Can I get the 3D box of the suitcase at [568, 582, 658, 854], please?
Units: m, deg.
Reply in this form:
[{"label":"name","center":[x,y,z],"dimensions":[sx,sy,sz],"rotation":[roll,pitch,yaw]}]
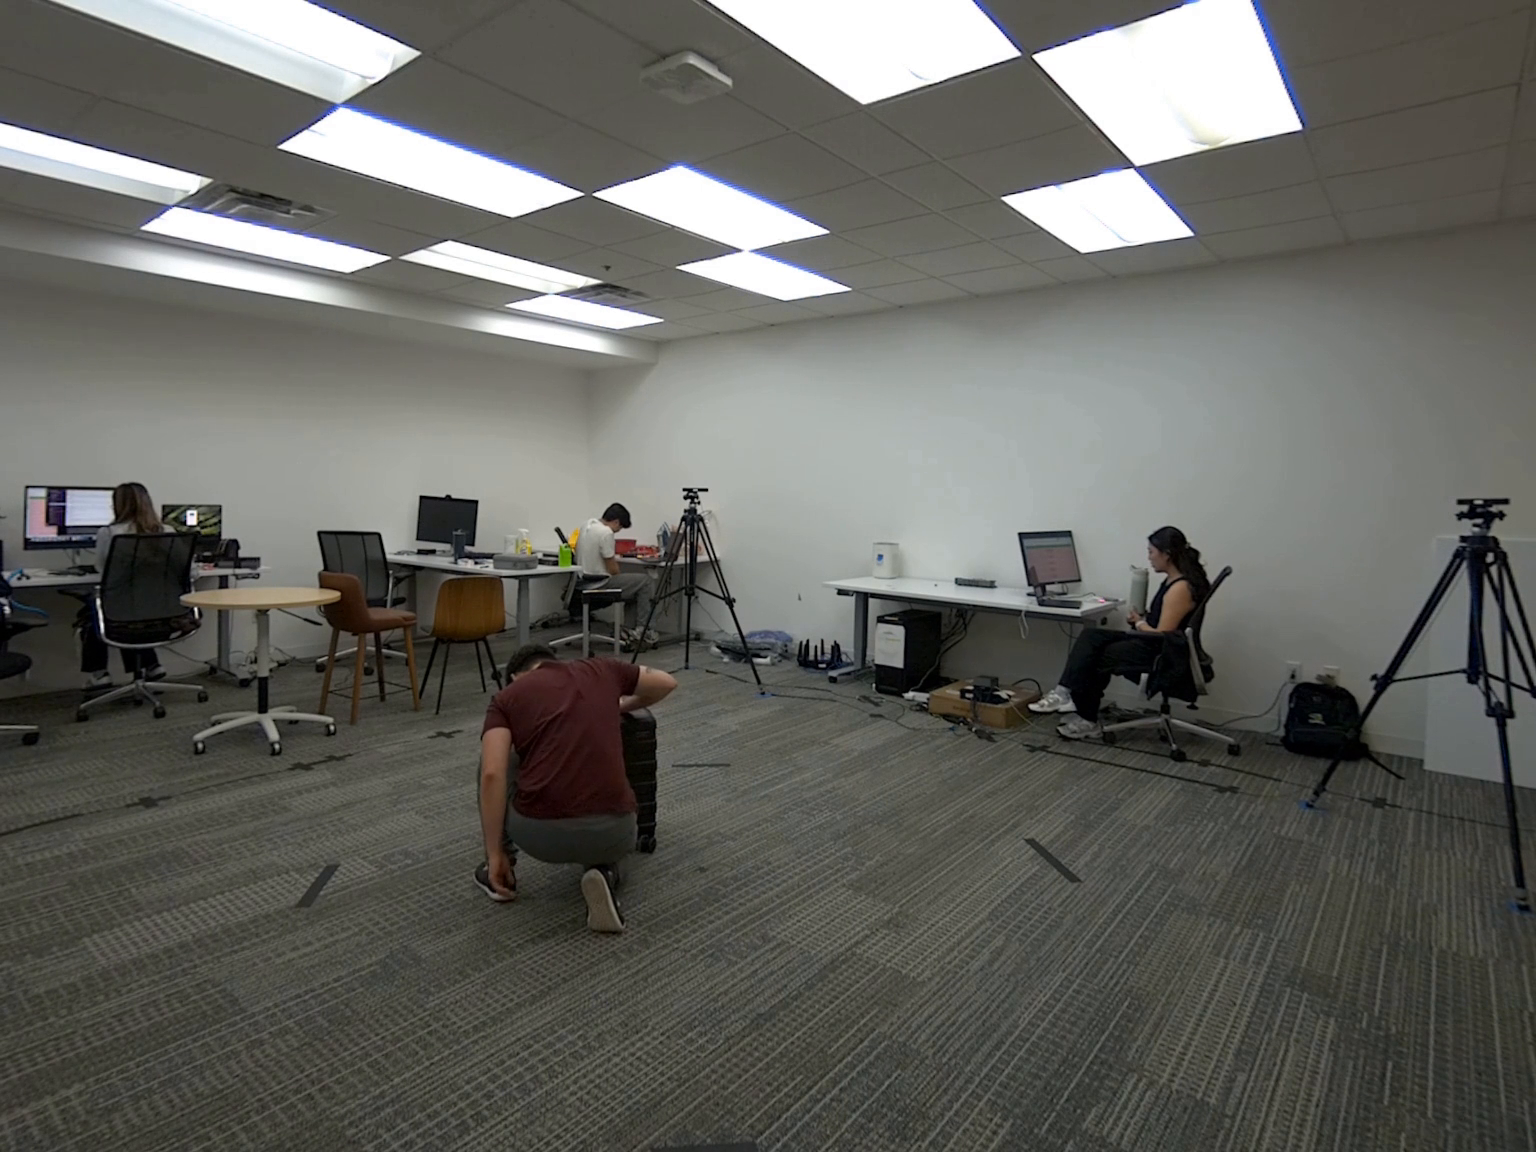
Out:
[{"label":"suitcase","center":[-0.628,0.569,3.298],"dimensions":[0.377,0.975,0.263],"rotation":[-2,4,-19]}]
